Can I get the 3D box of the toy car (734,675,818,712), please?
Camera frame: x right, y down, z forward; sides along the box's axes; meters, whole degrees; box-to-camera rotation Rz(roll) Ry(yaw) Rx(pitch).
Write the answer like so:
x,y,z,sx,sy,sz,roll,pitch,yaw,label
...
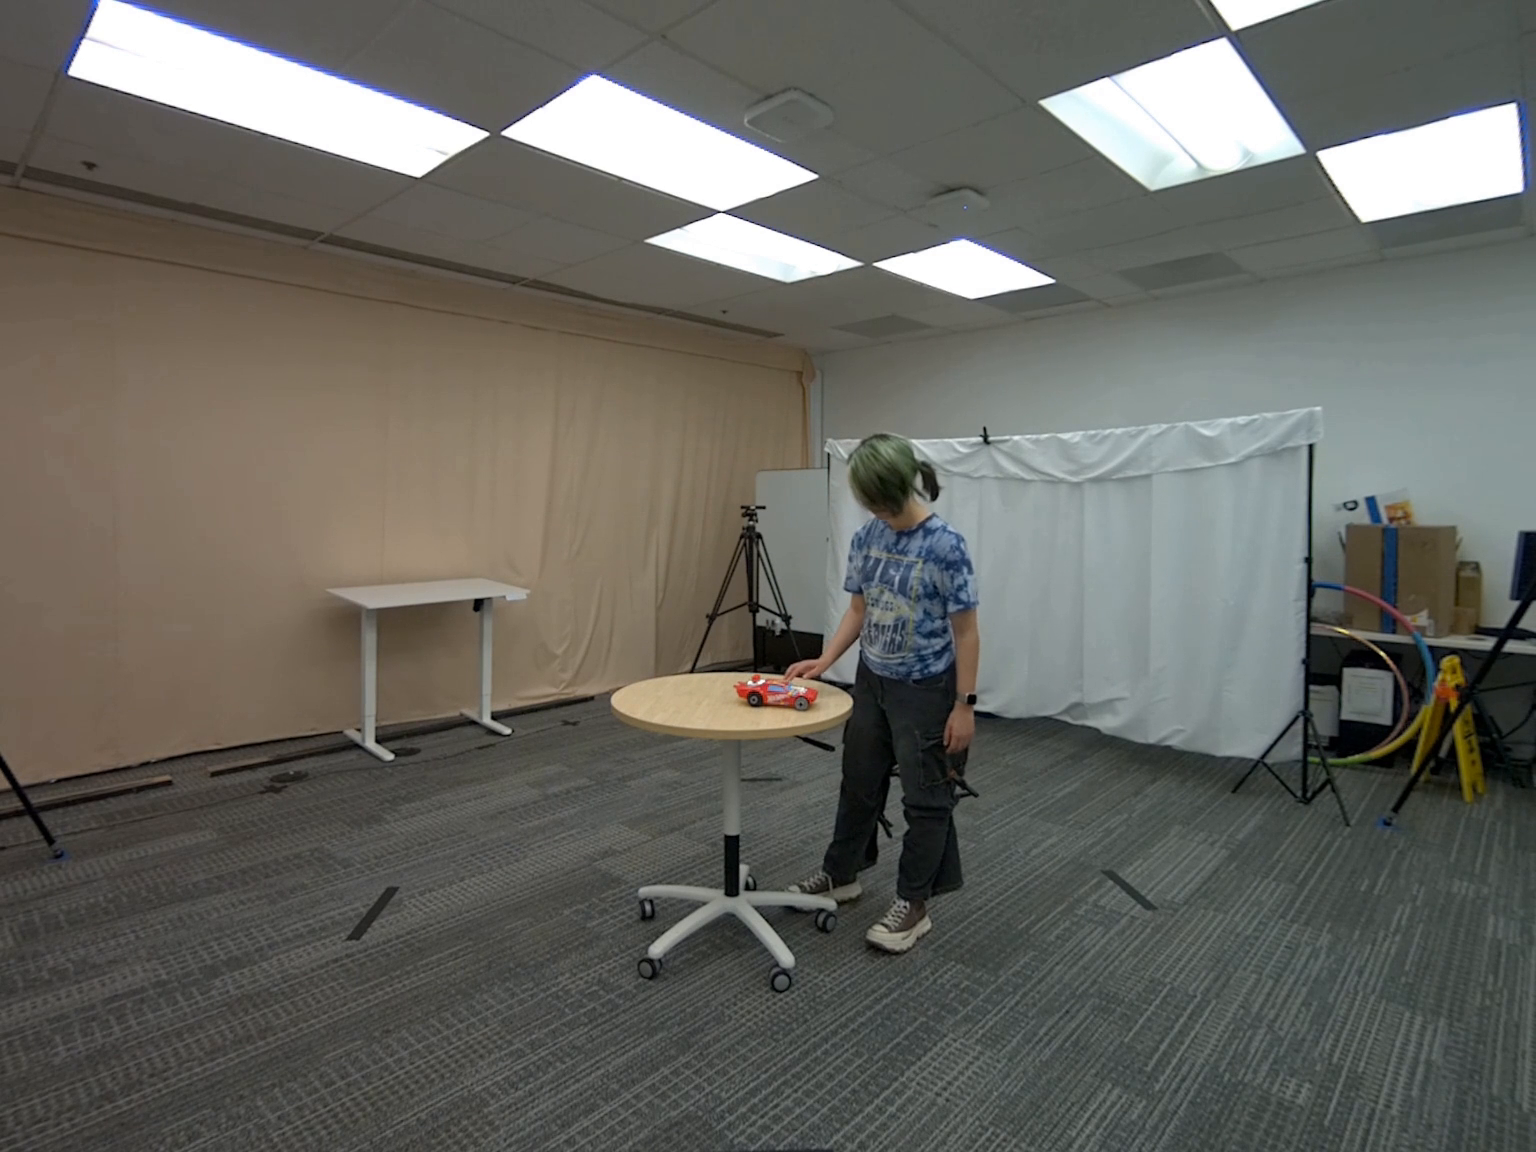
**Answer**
x,y,z,sx,sy,sz,roll,pitch,yaw,label
0.029,0.367,2.586,0.259,0.083,0.128,13,8,14,toy car
